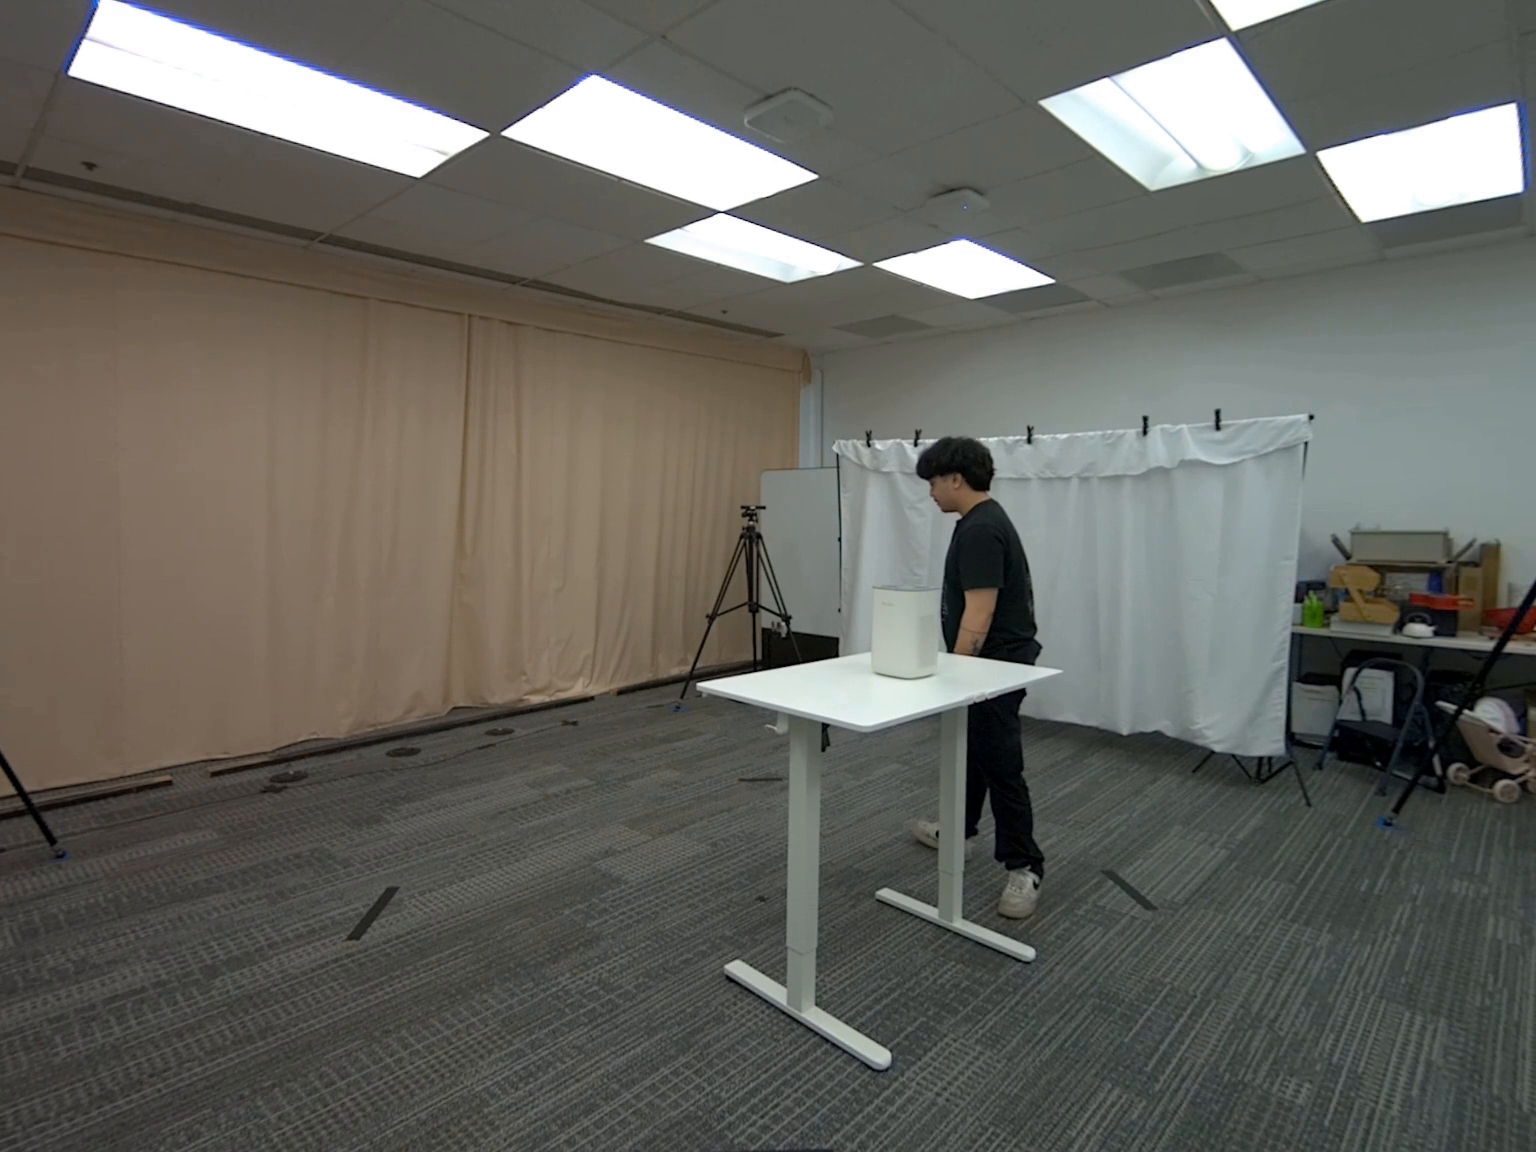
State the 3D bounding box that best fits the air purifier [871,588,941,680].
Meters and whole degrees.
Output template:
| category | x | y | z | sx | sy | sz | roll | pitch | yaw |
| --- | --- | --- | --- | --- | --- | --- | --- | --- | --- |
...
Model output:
| category | x | y | z | sx | sy | sz | roll | pitch | yaw |
| --- | --- | --- | --- | --- | --- | --- | --- | --- | --- |
| air purifier | 0.415 | 0.162 | 2.536 | 0.177 | 0.265 | 0.166 | 5 | 6 | 44 |
